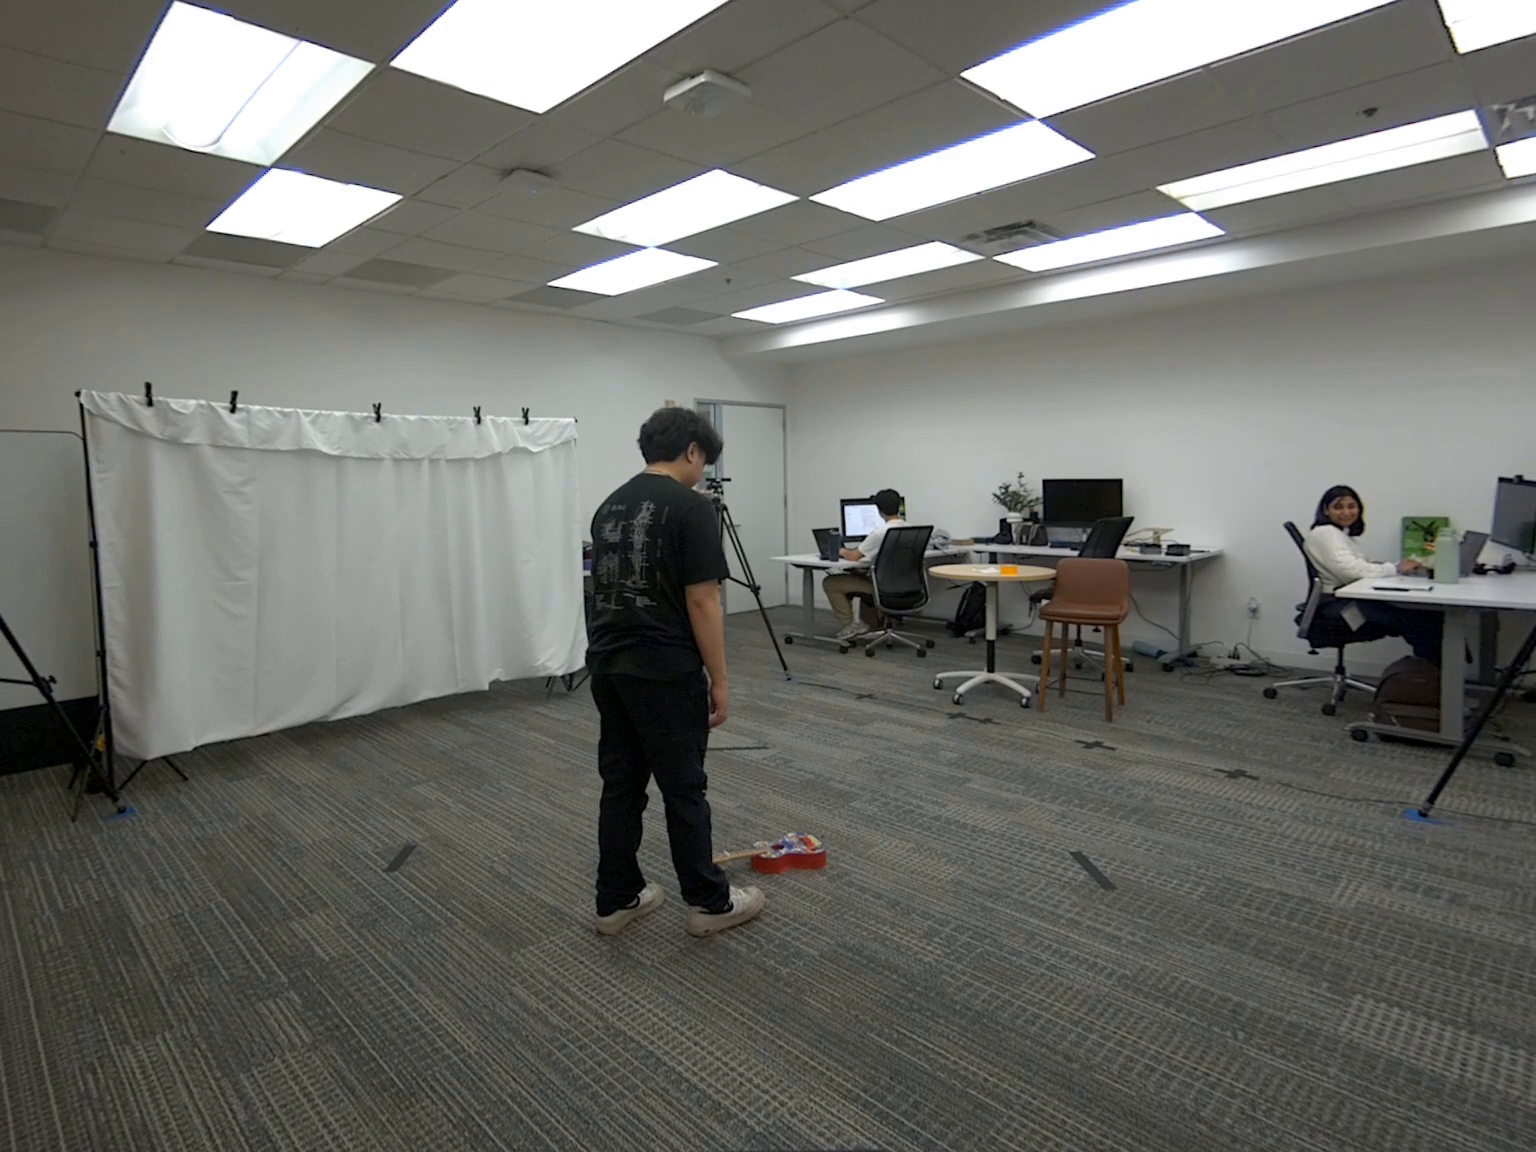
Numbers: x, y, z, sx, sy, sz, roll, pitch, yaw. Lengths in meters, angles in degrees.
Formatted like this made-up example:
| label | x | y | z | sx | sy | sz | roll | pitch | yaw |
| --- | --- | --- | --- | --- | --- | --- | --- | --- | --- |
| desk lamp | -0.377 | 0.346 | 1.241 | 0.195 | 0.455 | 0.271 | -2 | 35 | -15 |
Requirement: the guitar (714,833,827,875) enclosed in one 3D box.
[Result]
| label | x | y | z | sx | sy | sz | roll | pitch | yaw |
| --- | --- | --- | --- | --- | --- | --- | --- | --- | --- |
| guitar | -0.038 | 1.006 | 3.095 | 0.491 | 0.070 | 0.196 | -2 | 6 | -13 |
